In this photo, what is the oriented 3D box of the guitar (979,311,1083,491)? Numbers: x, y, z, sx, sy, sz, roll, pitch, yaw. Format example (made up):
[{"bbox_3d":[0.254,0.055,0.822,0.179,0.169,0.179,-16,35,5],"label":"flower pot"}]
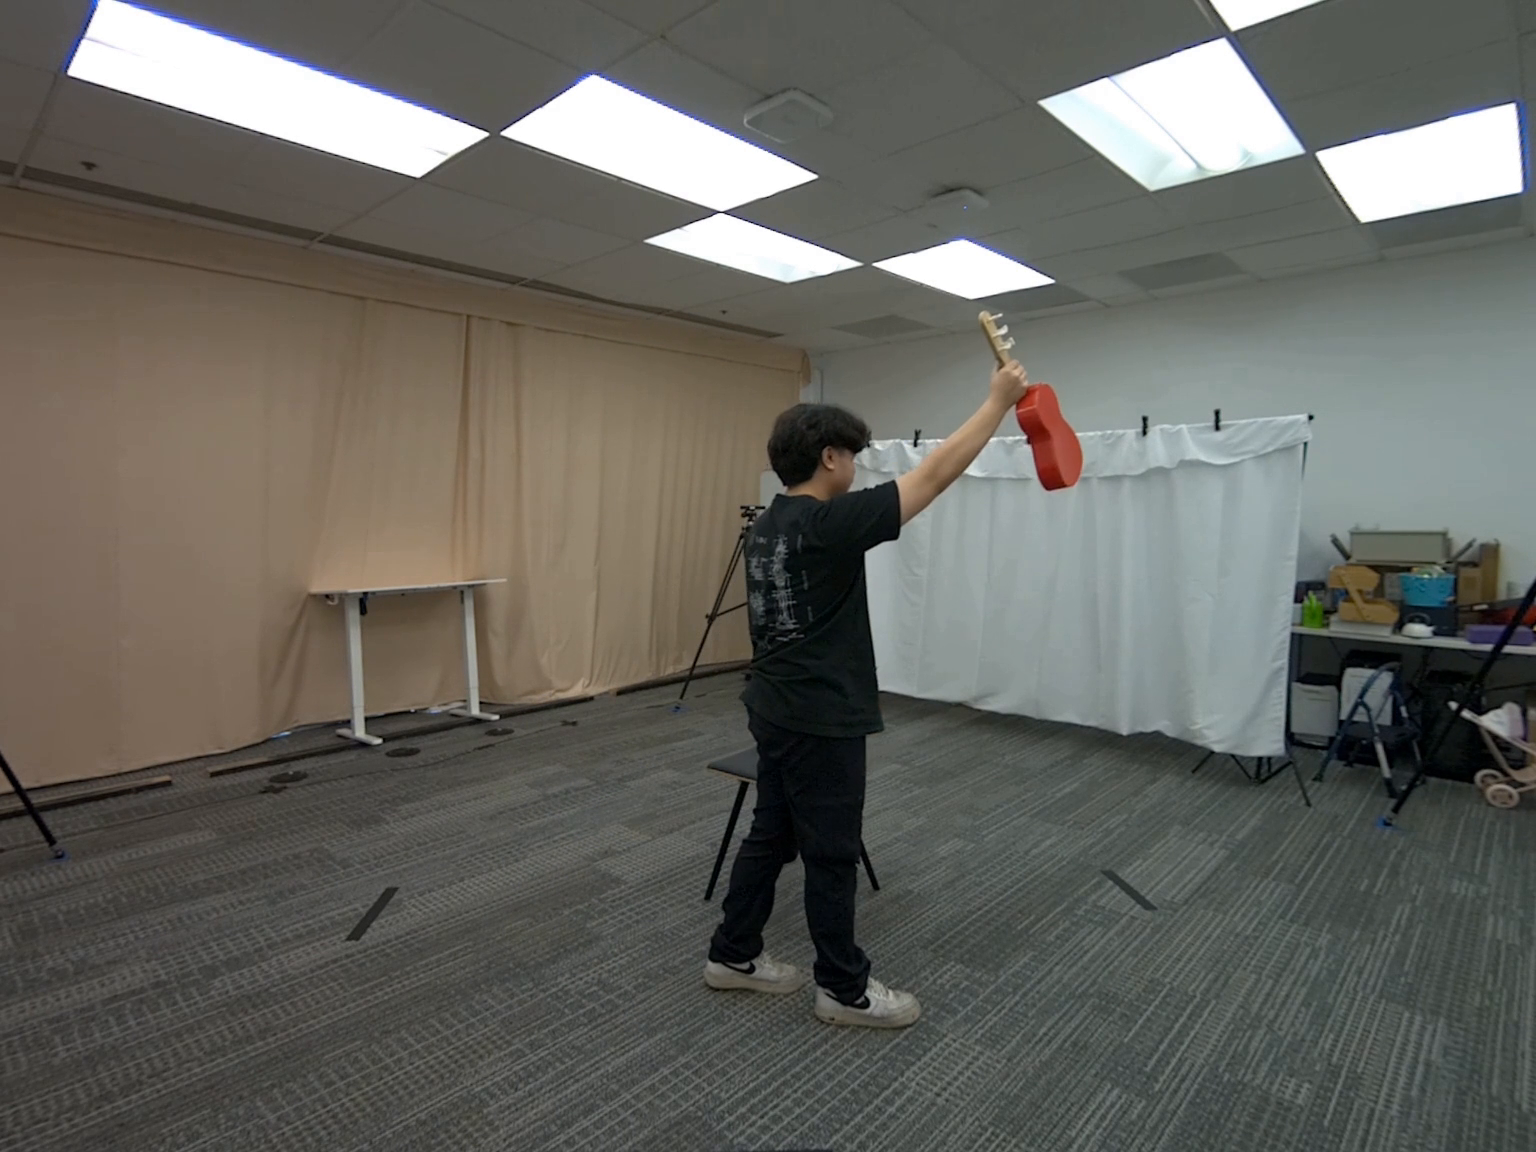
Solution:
[{"bbox_3d":[0.659,-0.431,2.127,0.072,0.486,0.192,-15,31,42],"label":"guitar"}]
